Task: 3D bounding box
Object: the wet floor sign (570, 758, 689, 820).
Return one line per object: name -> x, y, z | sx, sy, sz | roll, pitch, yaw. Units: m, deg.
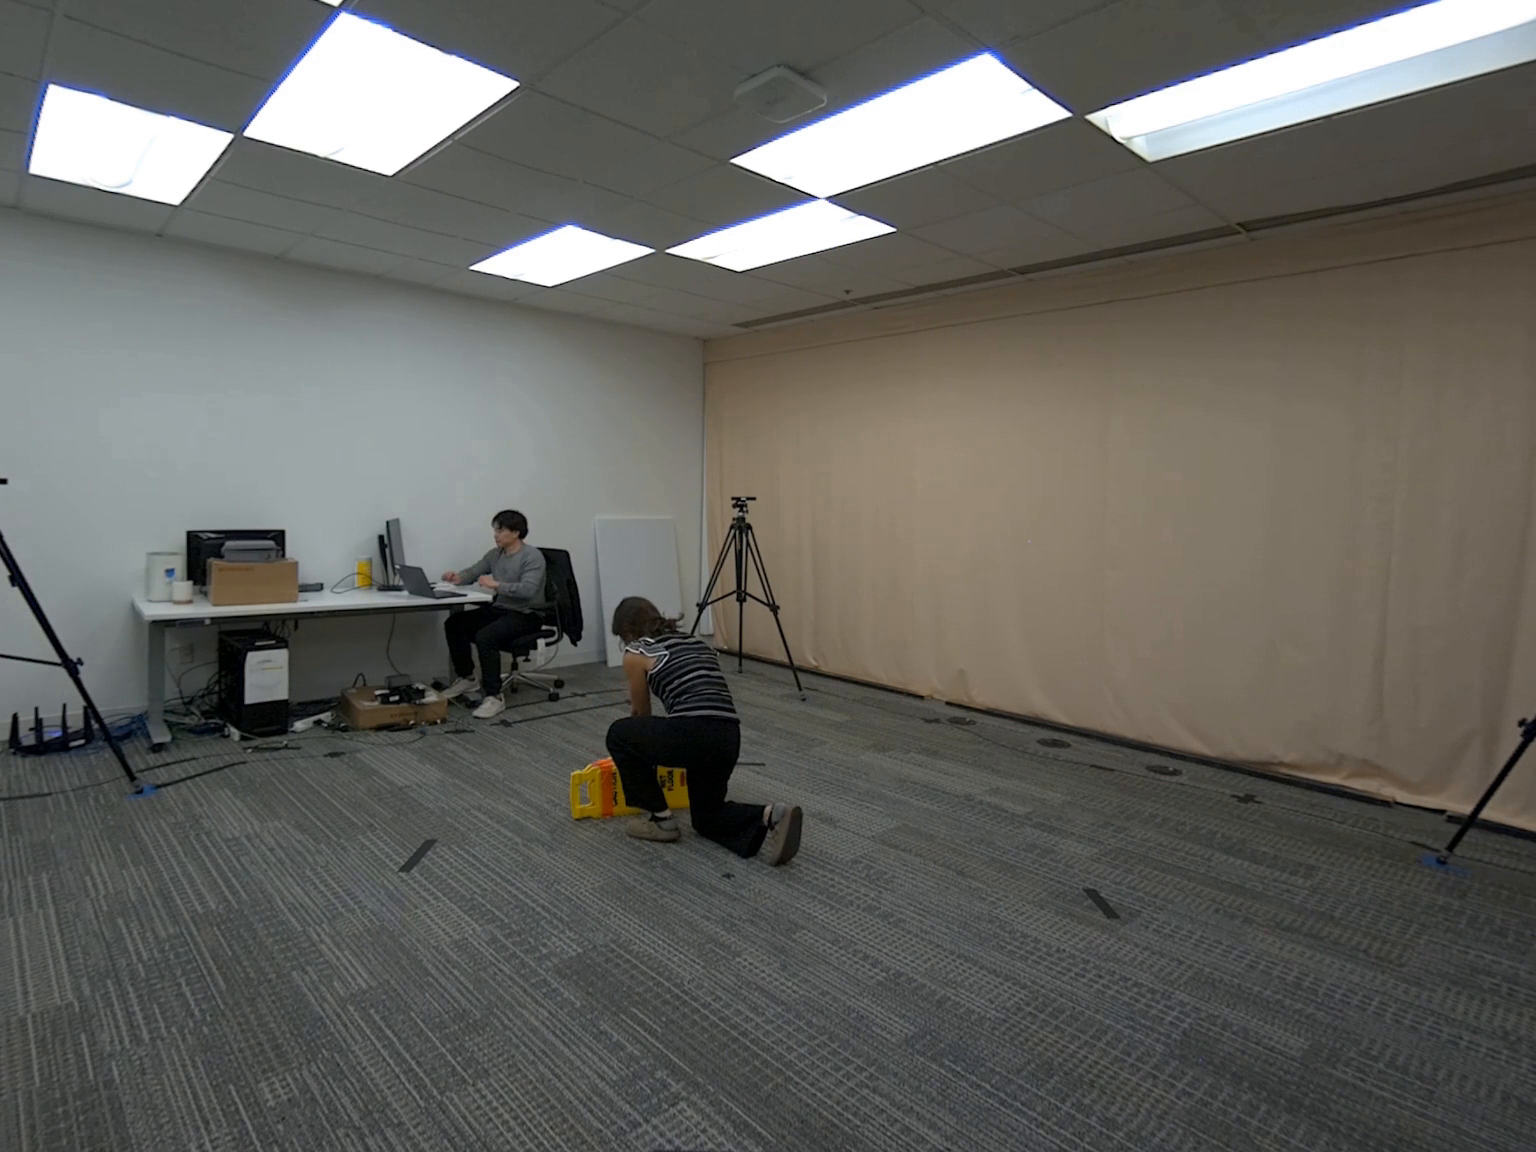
wet floor sign -> -0.589, 0.914, 3.770 | 0.633, 0.281, 0.296 | -5, 5, -33
